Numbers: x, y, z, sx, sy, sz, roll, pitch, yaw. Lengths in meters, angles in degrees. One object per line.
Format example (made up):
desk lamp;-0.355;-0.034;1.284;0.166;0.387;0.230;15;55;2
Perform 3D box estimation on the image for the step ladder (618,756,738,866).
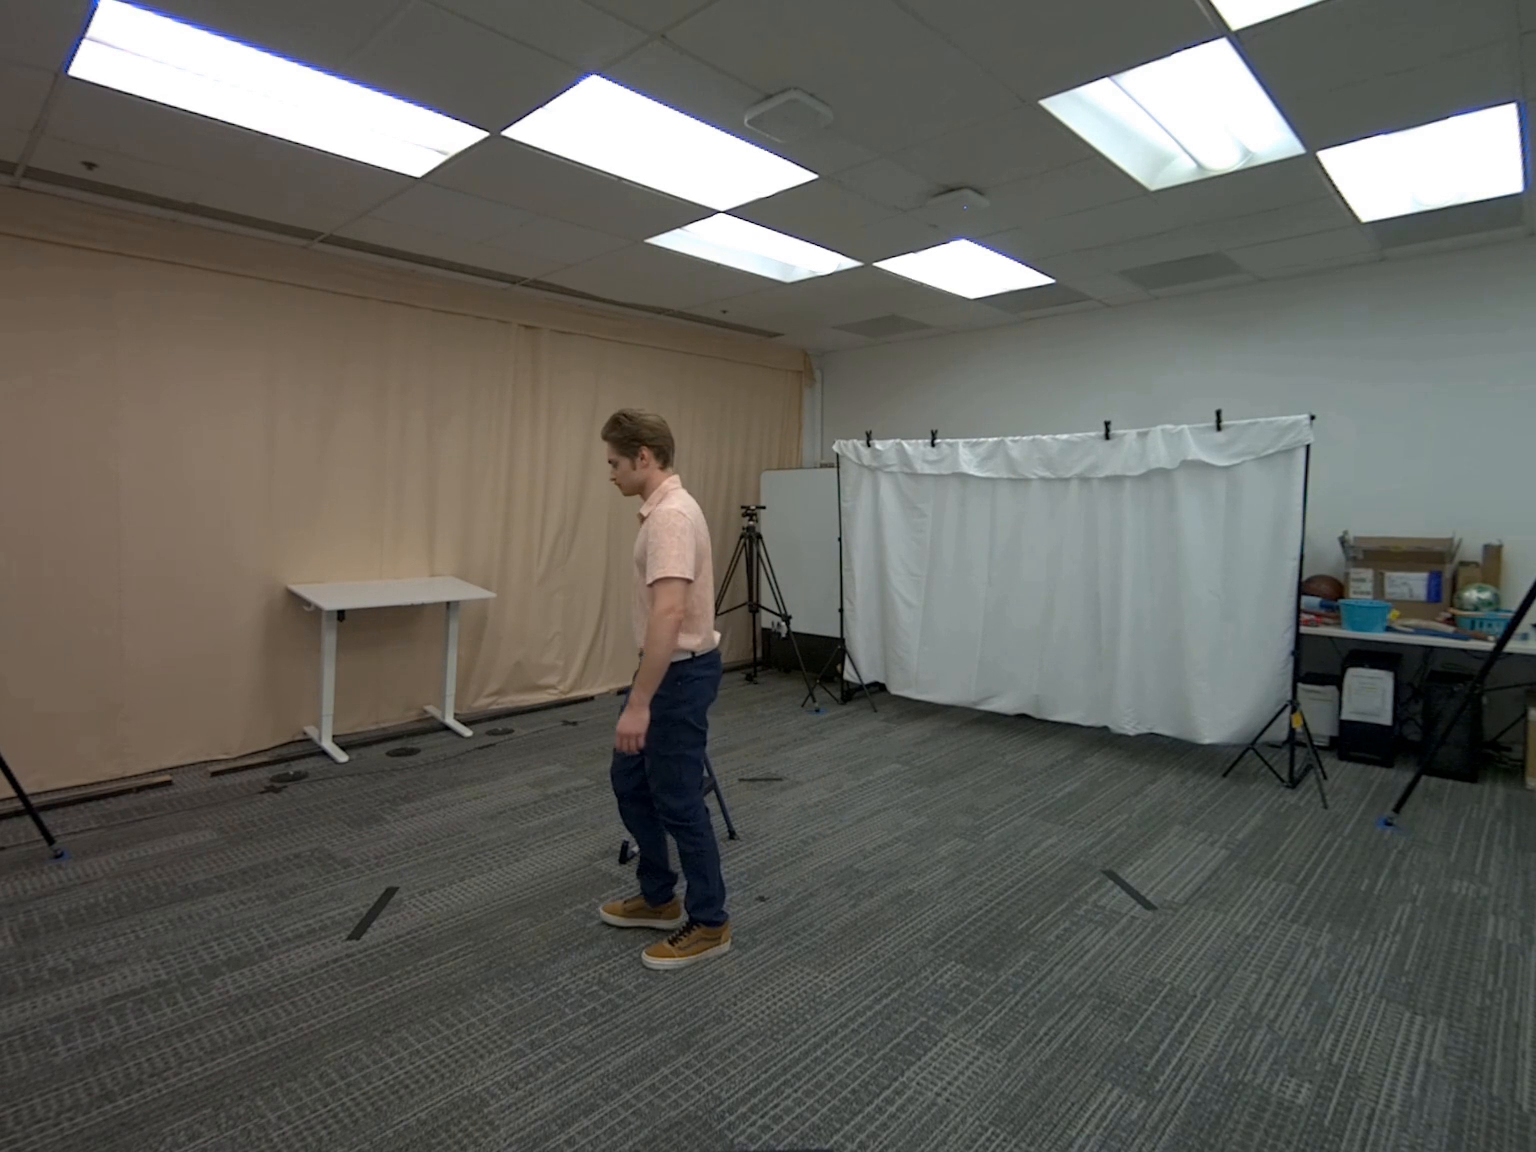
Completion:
step ladder;-0.355;0.811;3.389;0.357;0.605;0.422;1;3;21
